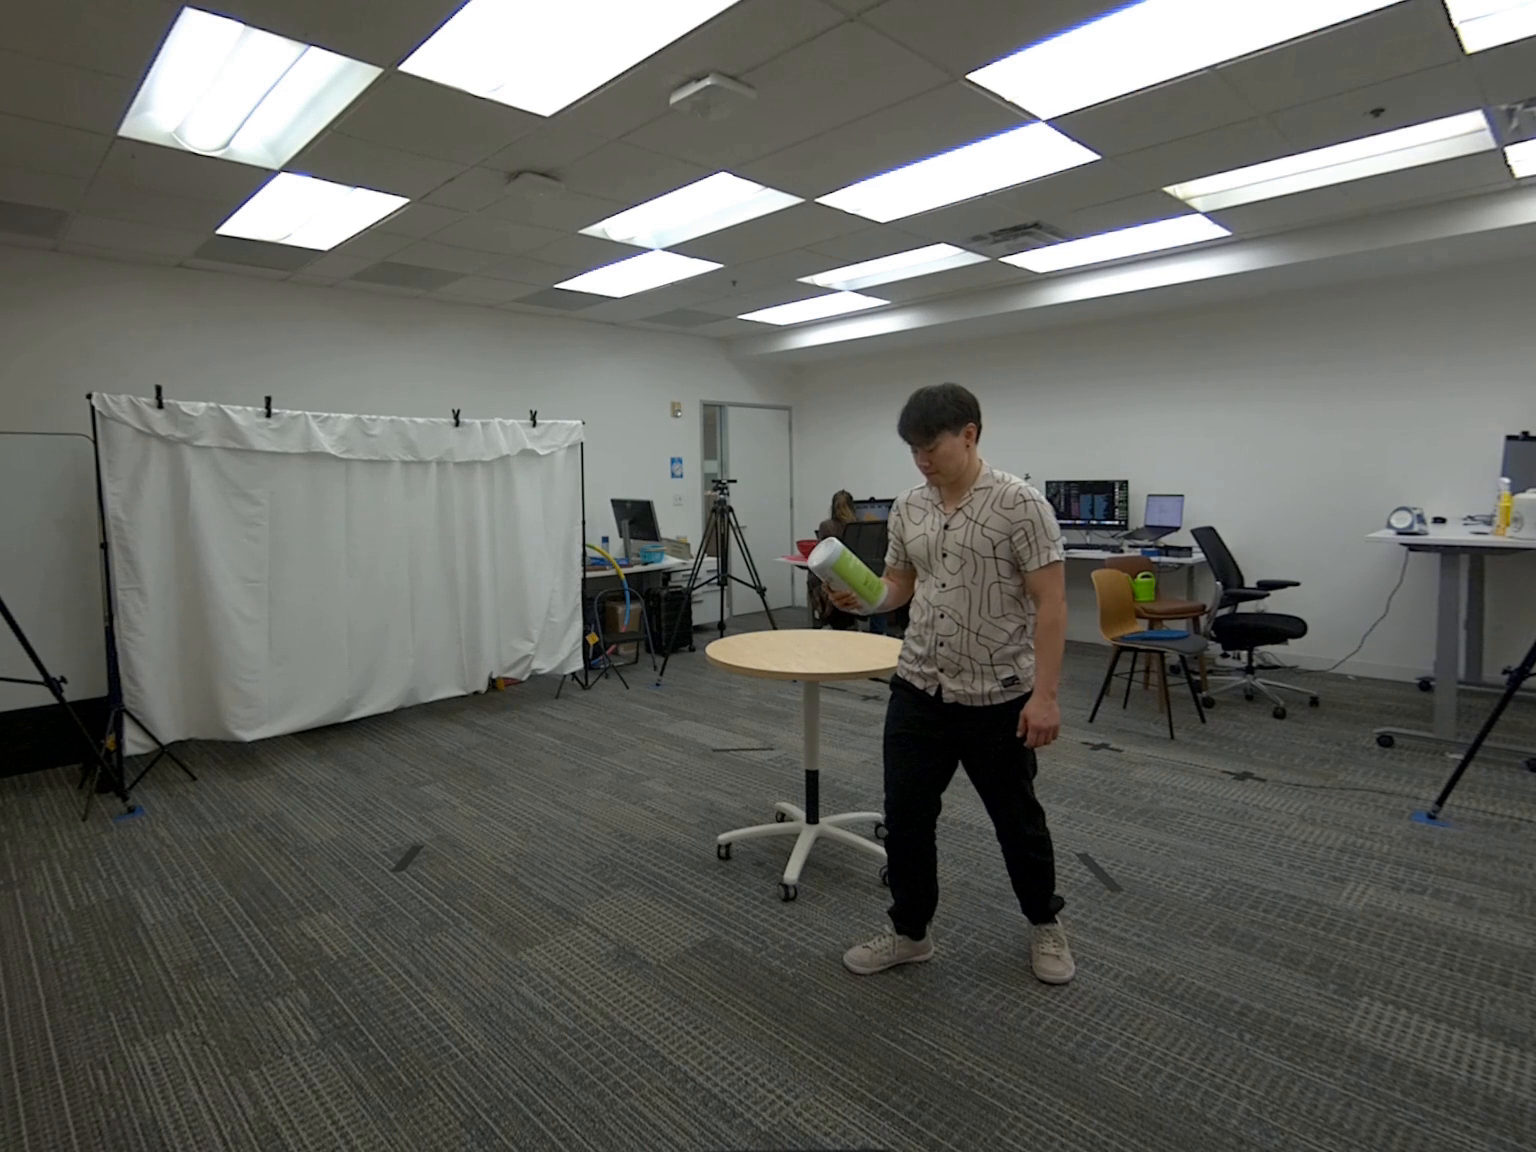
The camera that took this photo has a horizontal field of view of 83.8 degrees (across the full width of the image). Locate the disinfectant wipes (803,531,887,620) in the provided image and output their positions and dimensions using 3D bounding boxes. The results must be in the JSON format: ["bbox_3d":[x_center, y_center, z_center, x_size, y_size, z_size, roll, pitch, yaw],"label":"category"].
[{"bbox_3d":[0.230,-0.005,2.329,0.214,0.118,0.120,40,-7,-14],"label":"disinfectant wipes"}]
